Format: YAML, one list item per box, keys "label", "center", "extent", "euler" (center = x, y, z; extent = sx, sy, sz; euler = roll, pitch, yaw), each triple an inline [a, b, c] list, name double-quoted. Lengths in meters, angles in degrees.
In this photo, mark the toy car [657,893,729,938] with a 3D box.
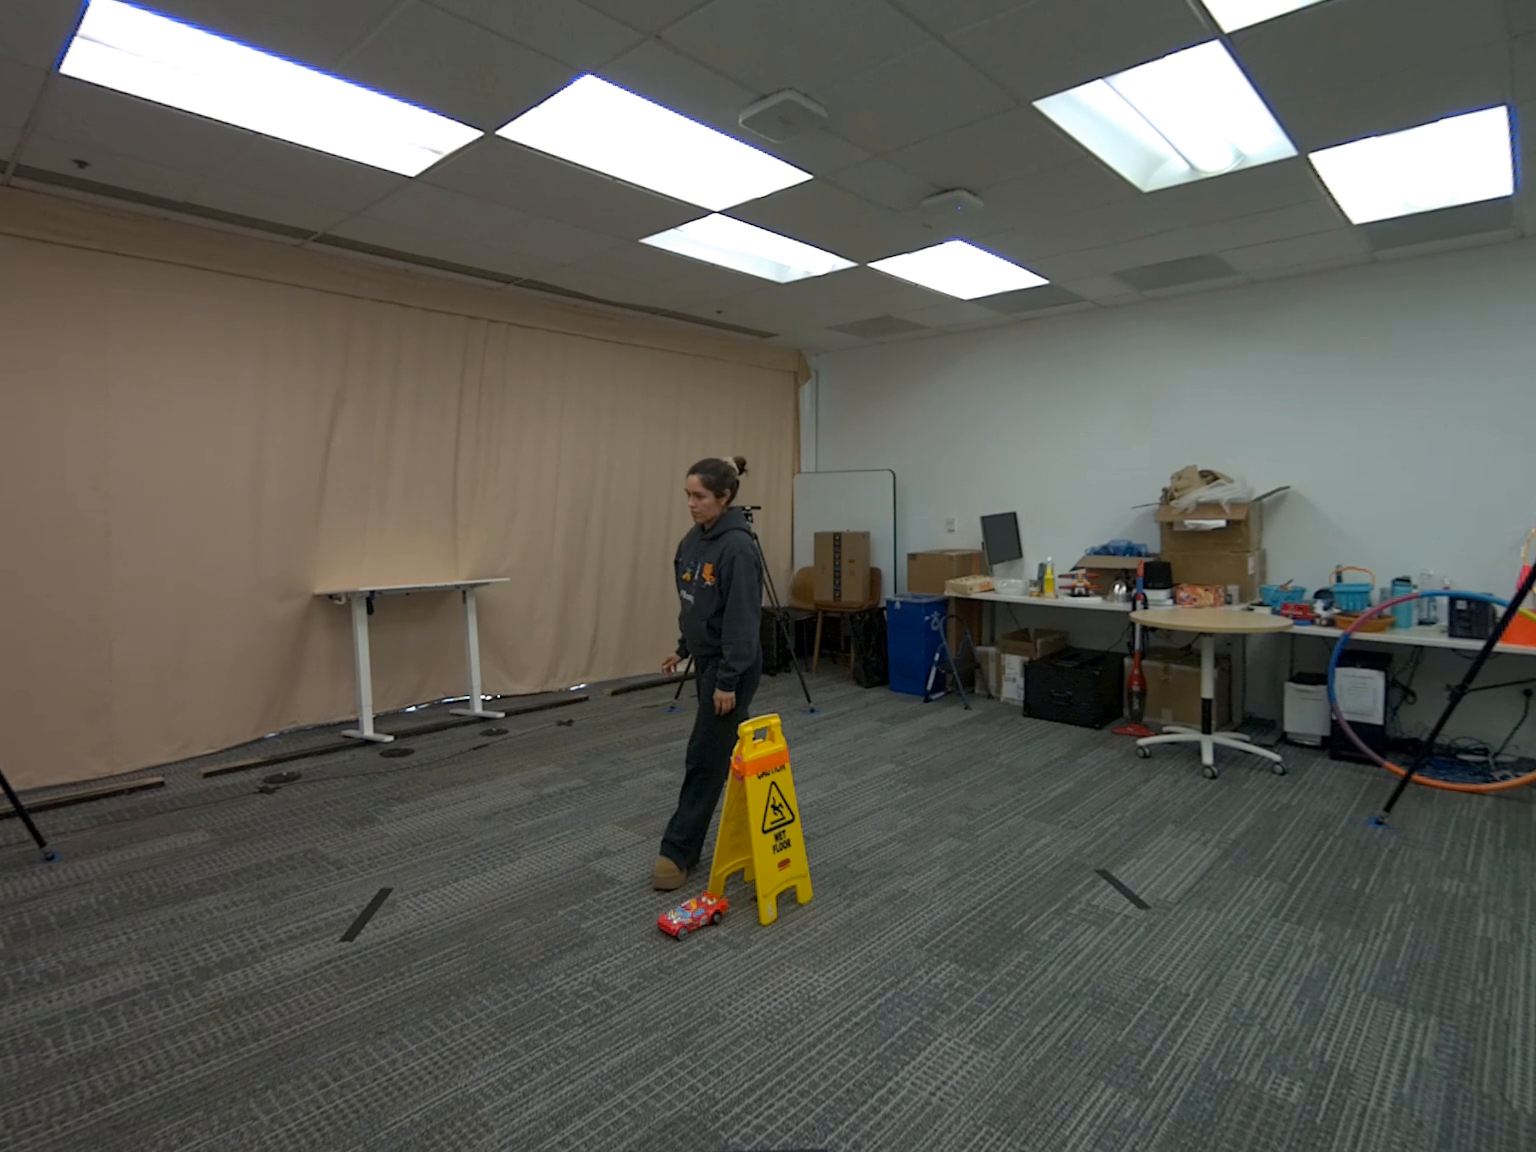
- label: "toy car"
  center: [-0.234, 1.128, 2.806]
  extent: [0.248, 0.082, 0.134]
  euler: [-20, 16, -41]
